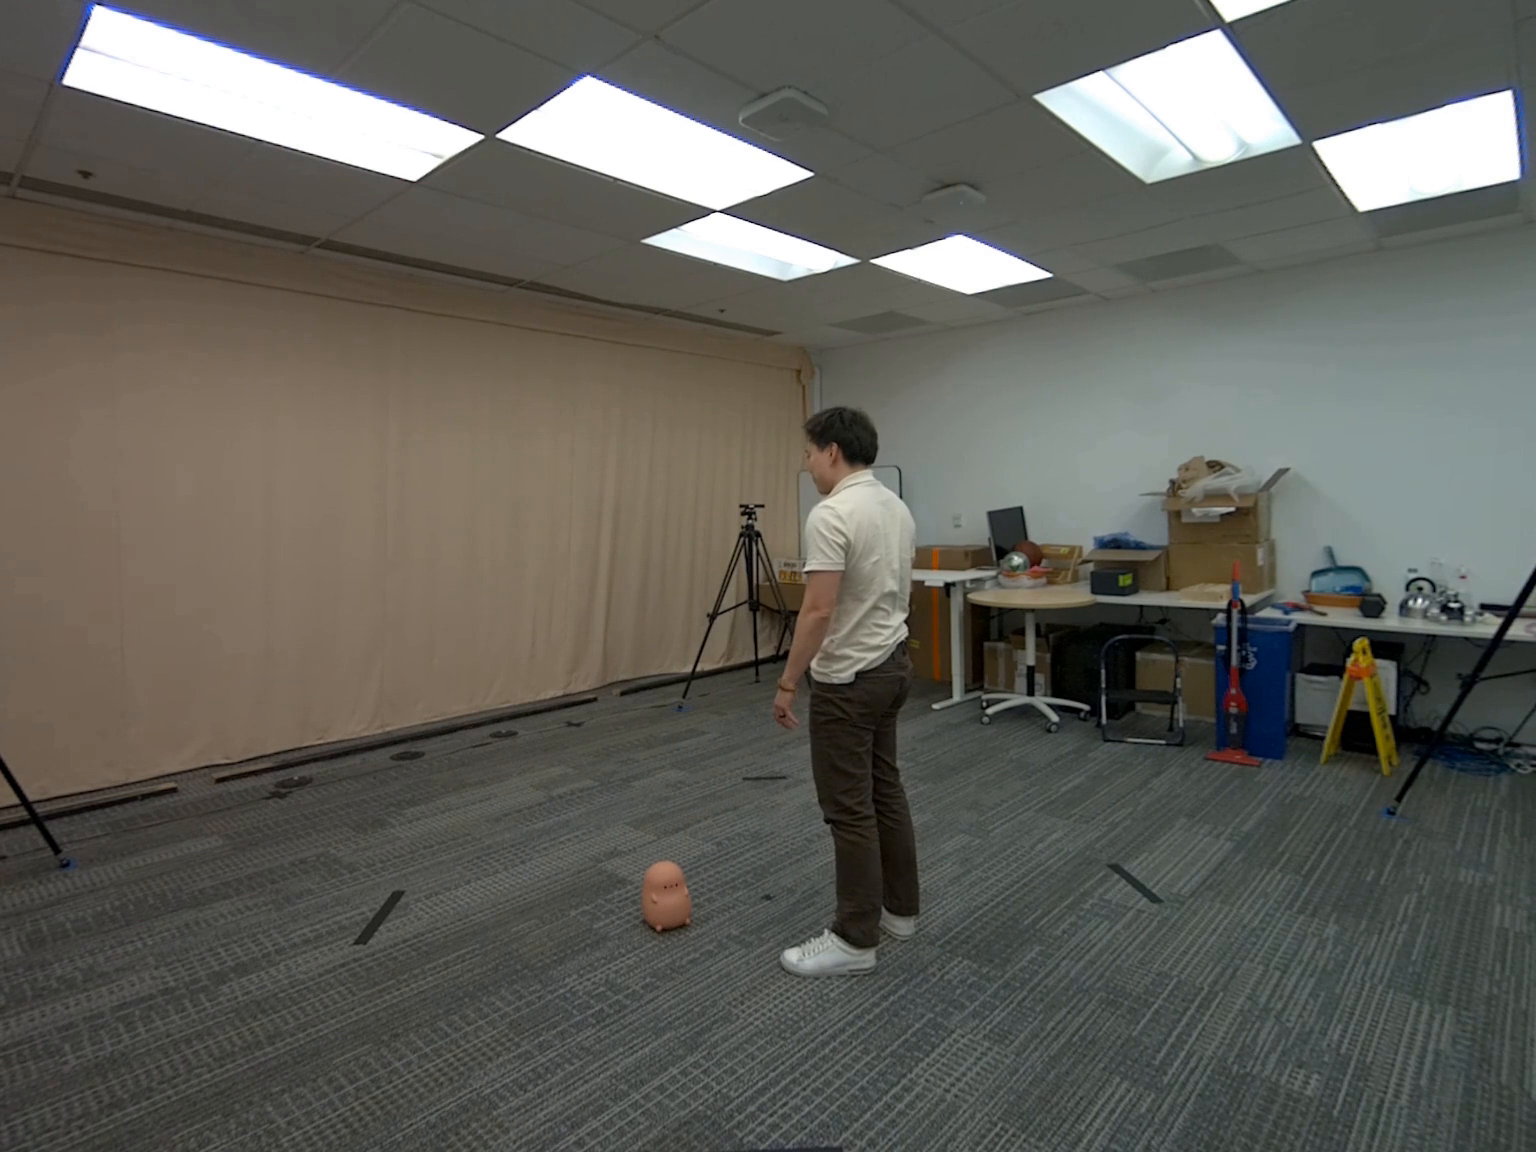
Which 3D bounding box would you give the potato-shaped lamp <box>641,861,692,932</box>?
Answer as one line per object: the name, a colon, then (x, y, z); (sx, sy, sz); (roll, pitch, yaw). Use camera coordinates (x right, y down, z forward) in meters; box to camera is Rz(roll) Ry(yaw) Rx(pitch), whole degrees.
potato-shaped lamp: (-0.340, 1.058, 2.816); (0.161, 0.198, 0.175); (-2, -1, -22)
